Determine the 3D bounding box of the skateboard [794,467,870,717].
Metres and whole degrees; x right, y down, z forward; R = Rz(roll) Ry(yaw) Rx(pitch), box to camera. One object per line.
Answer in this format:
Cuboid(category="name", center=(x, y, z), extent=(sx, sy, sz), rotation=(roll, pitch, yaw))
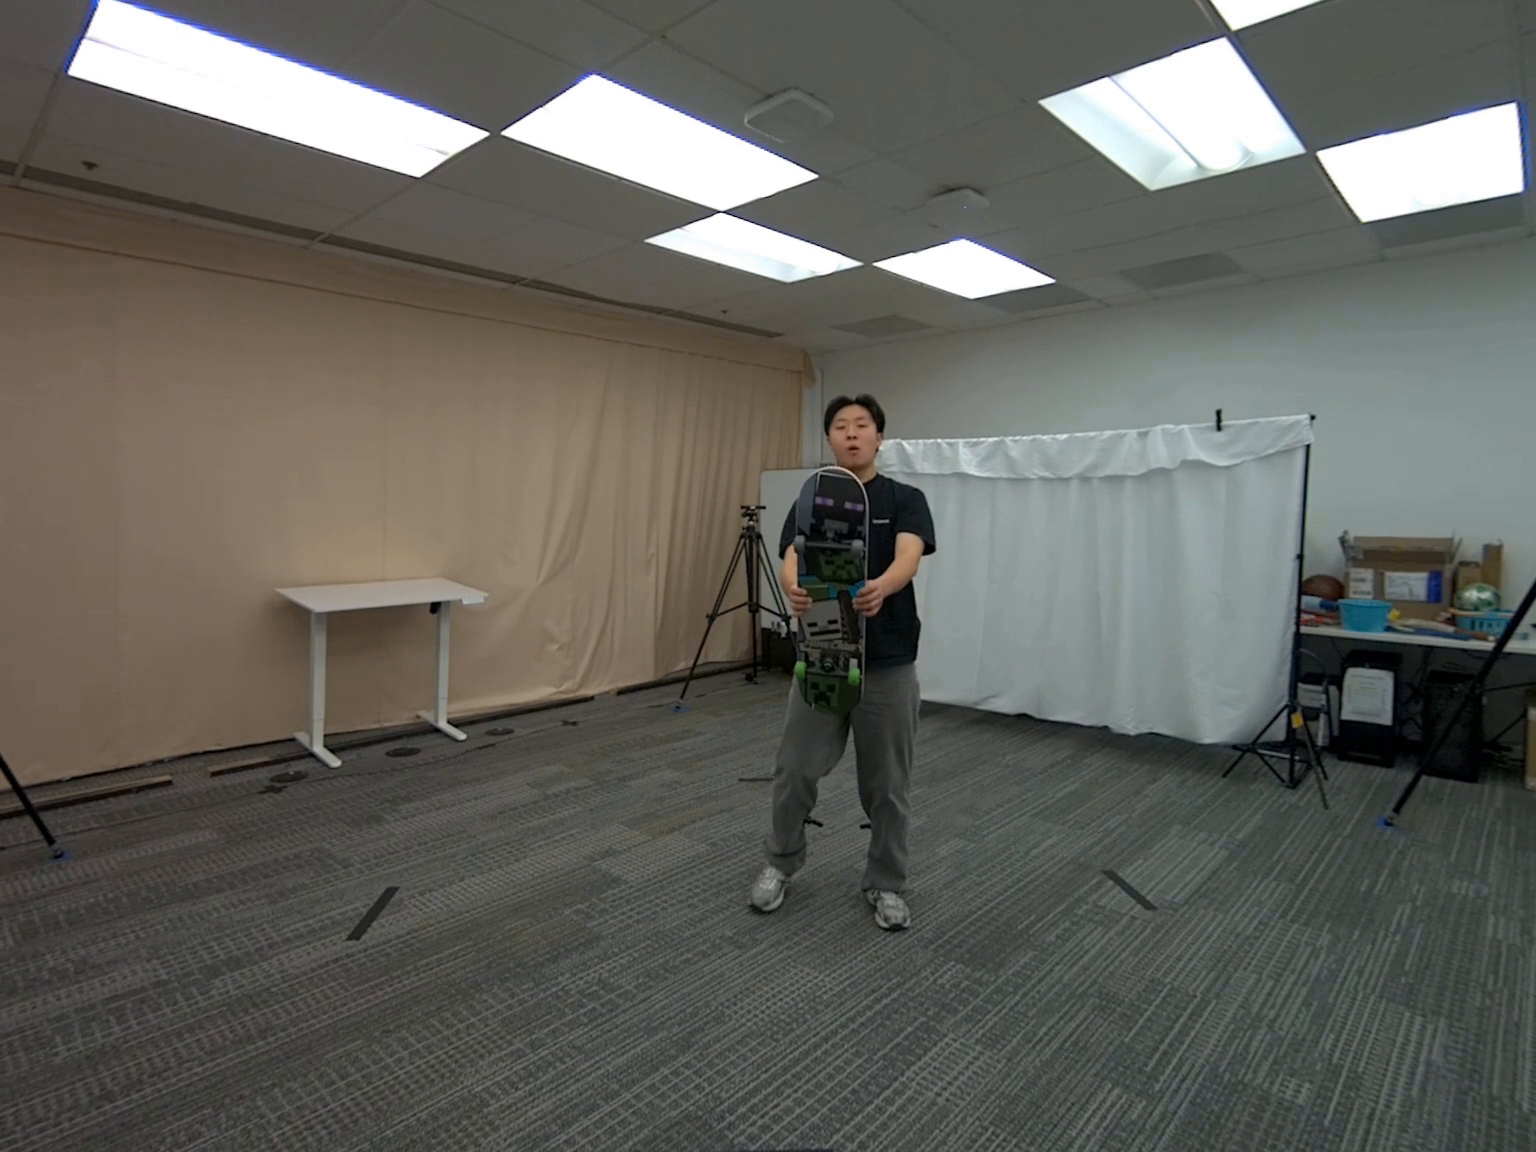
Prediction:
Cuboid(category="skateboard", center=(0.179, 0.099, 2.341), extent=(0.197, 0.774, 0.110), rotation=(7, 26, 14))
